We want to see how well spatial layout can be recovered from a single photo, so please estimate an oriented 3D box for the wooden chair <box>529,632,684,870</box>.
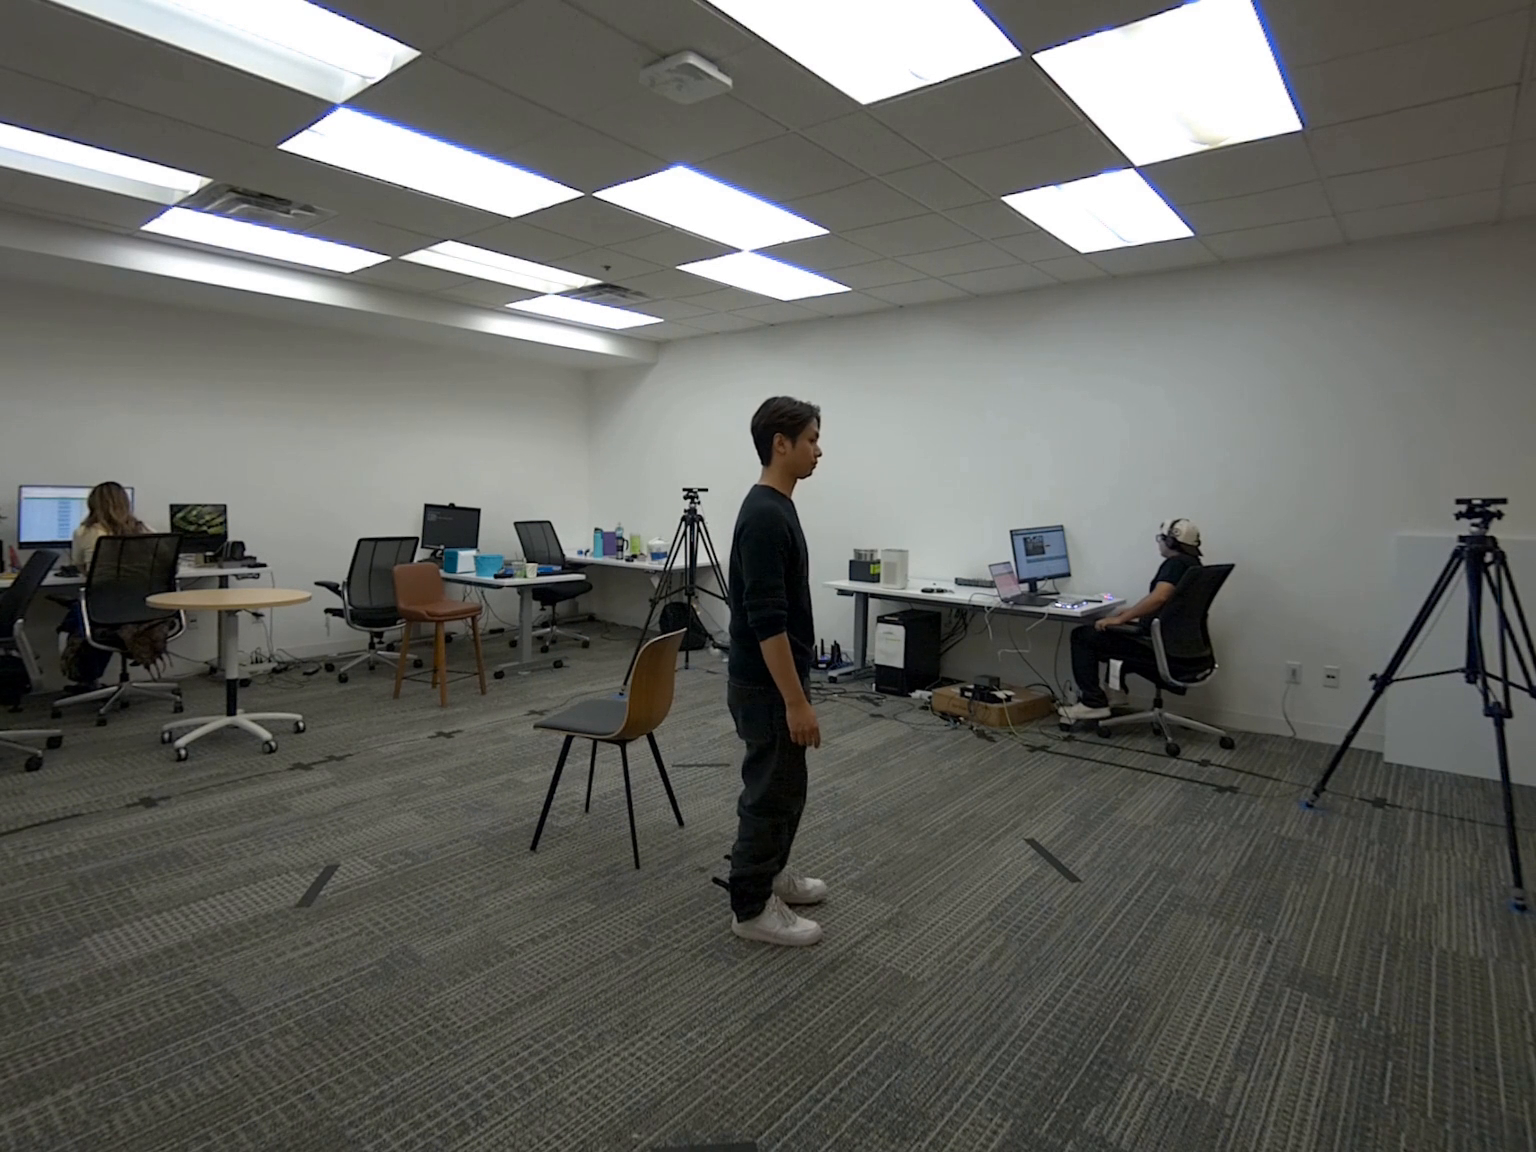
[{"bbox_3d":[-0.638,0.612,3.349,0.534,0.874,0.470,7,5,18],"label":"wooden chair"}]
